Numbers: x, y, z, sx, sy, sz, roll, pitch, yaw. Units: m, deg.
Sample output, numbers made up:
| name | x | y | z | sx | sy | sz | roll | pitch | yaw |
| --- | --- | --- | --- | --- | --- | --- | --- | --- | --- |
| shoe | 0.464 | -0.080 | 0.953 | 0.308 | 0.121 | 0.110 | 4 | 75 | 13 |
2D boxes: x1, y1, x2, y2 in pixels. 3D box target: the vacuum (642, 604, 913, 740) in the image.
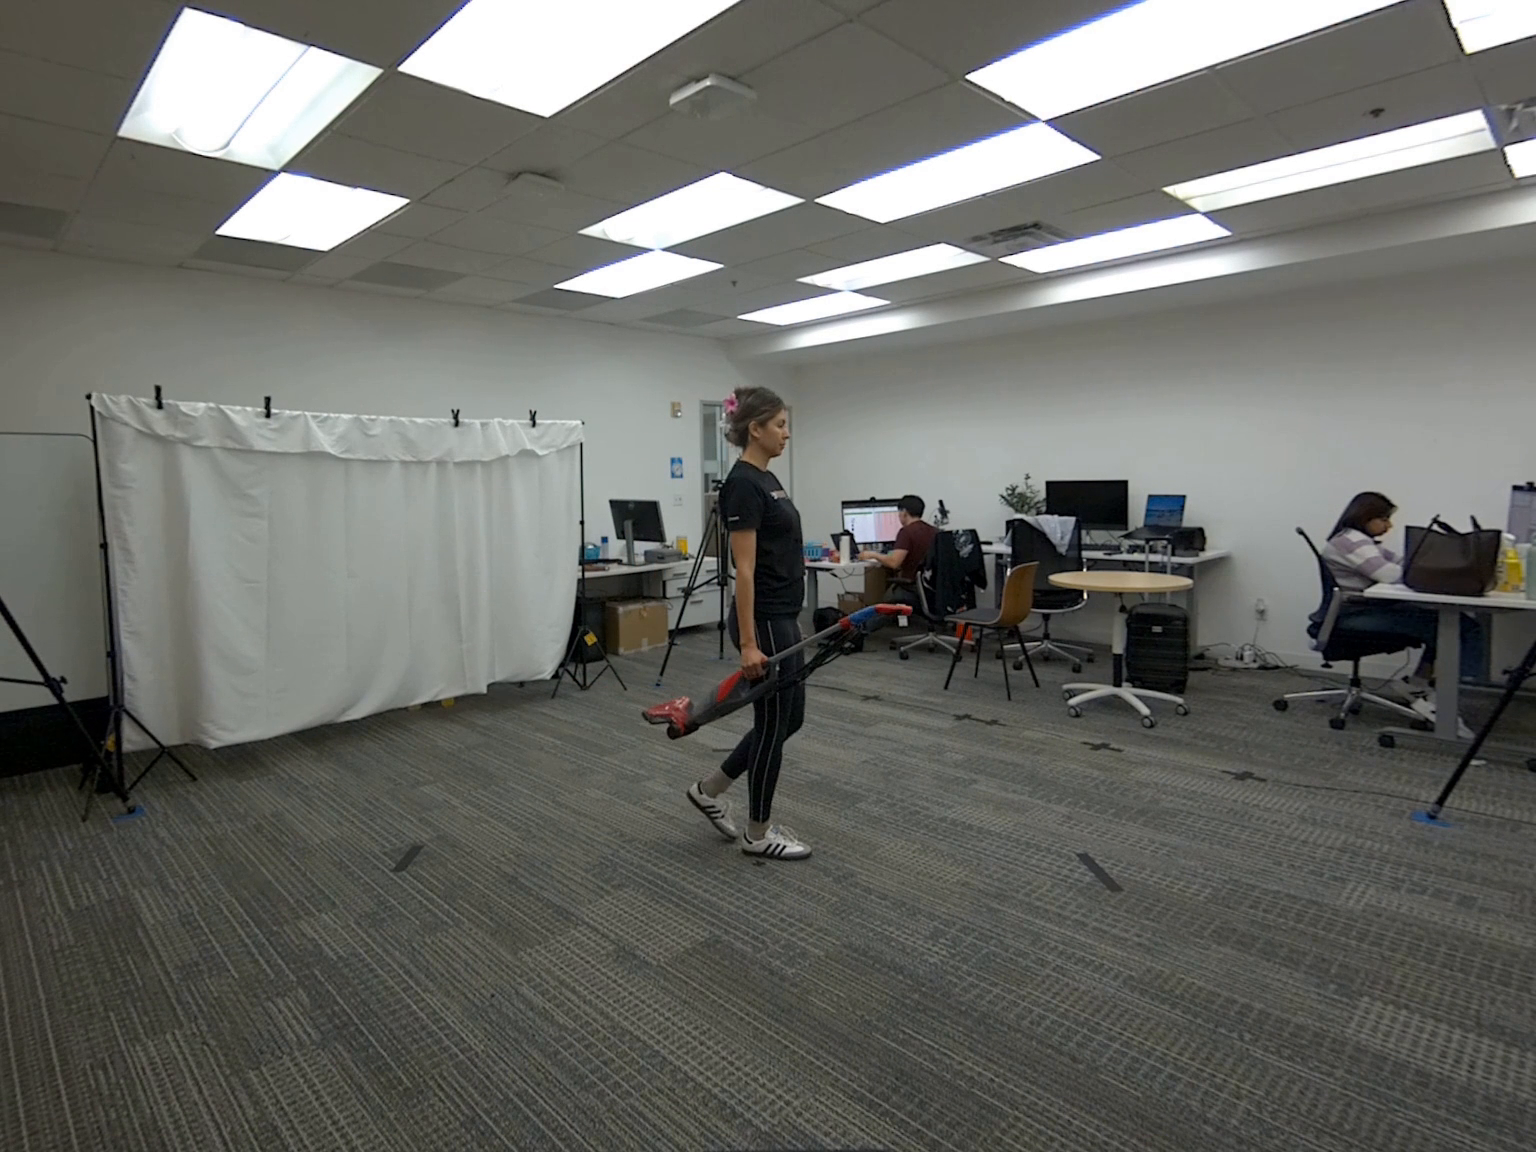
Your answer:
| name | x | y | z | sx | sy | sz | roll | pitch | yaw |
| --- | --- | --- | --- | --- | --- | --- | --- | --- | --- |
| vacuum | 0.038 | 0.320 | 2.828 | 1.060 | 0.146 | 0.247 | -28 | -10 | 33 |
